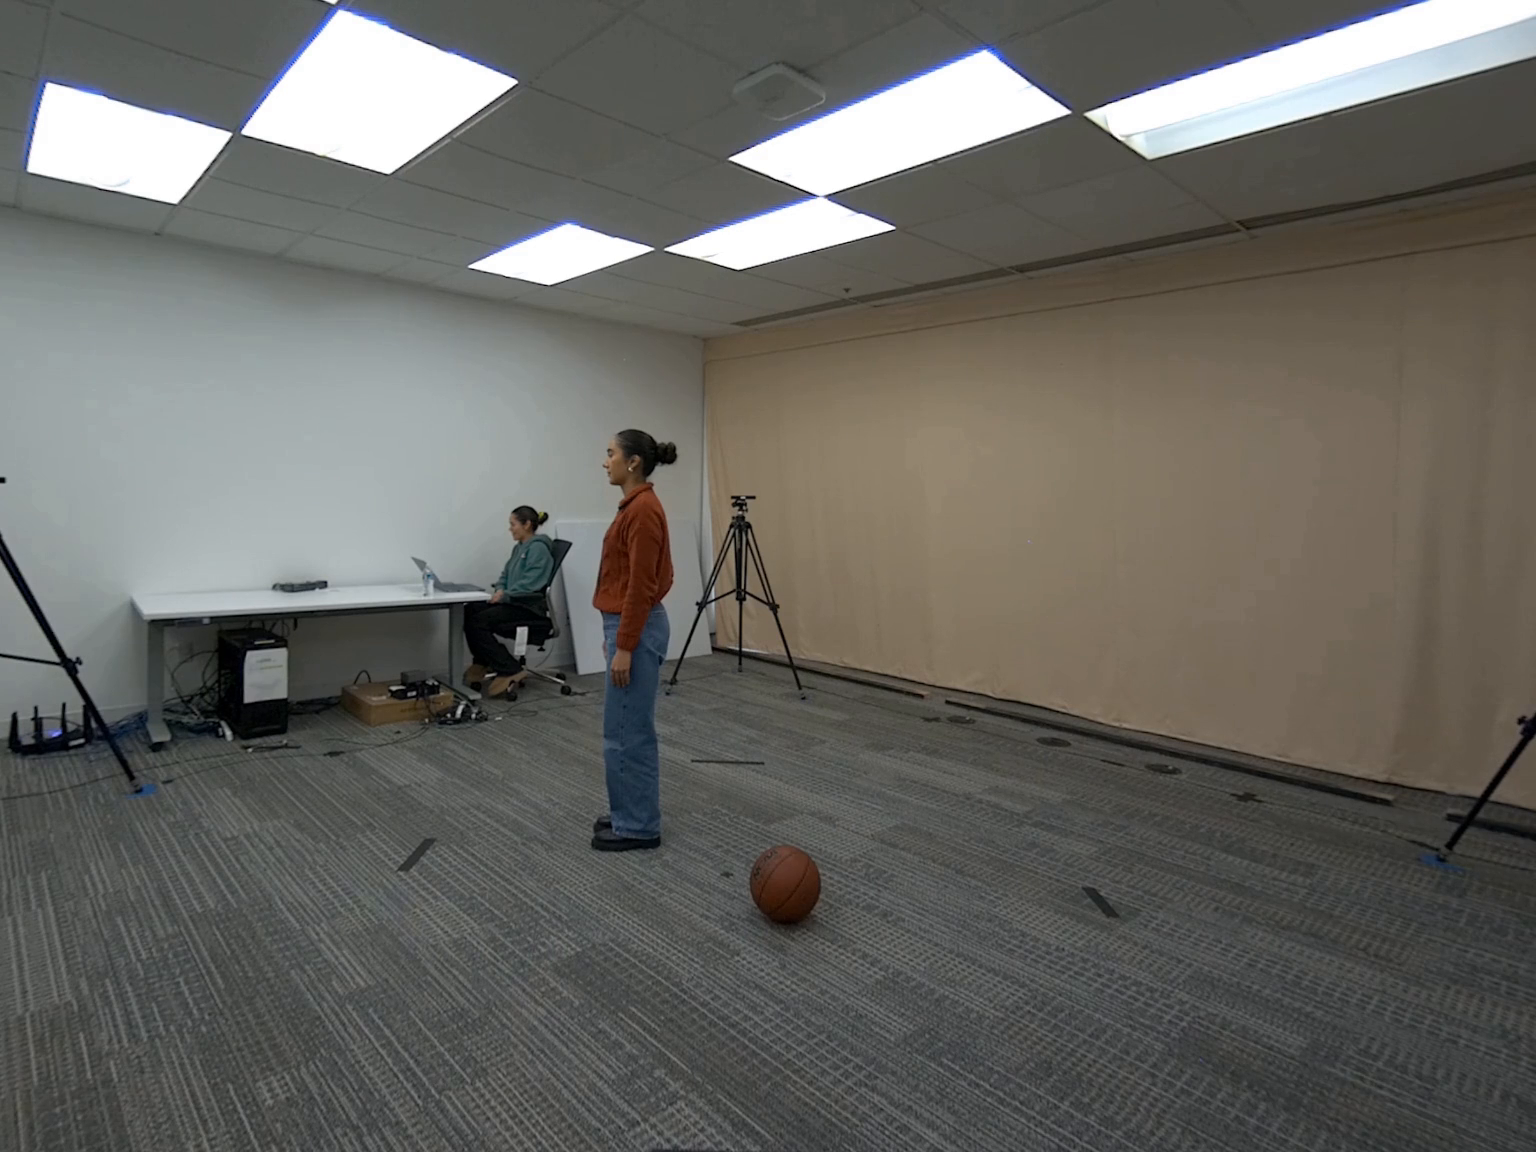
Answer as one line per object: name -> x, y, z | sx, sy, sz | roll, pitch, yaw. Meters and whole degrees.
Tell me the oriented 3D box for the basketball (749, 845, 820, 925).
basketball -> 0.049, 1.011, 2.780 | 0.236, 0.235, 0.237 | 1, 4, -1
